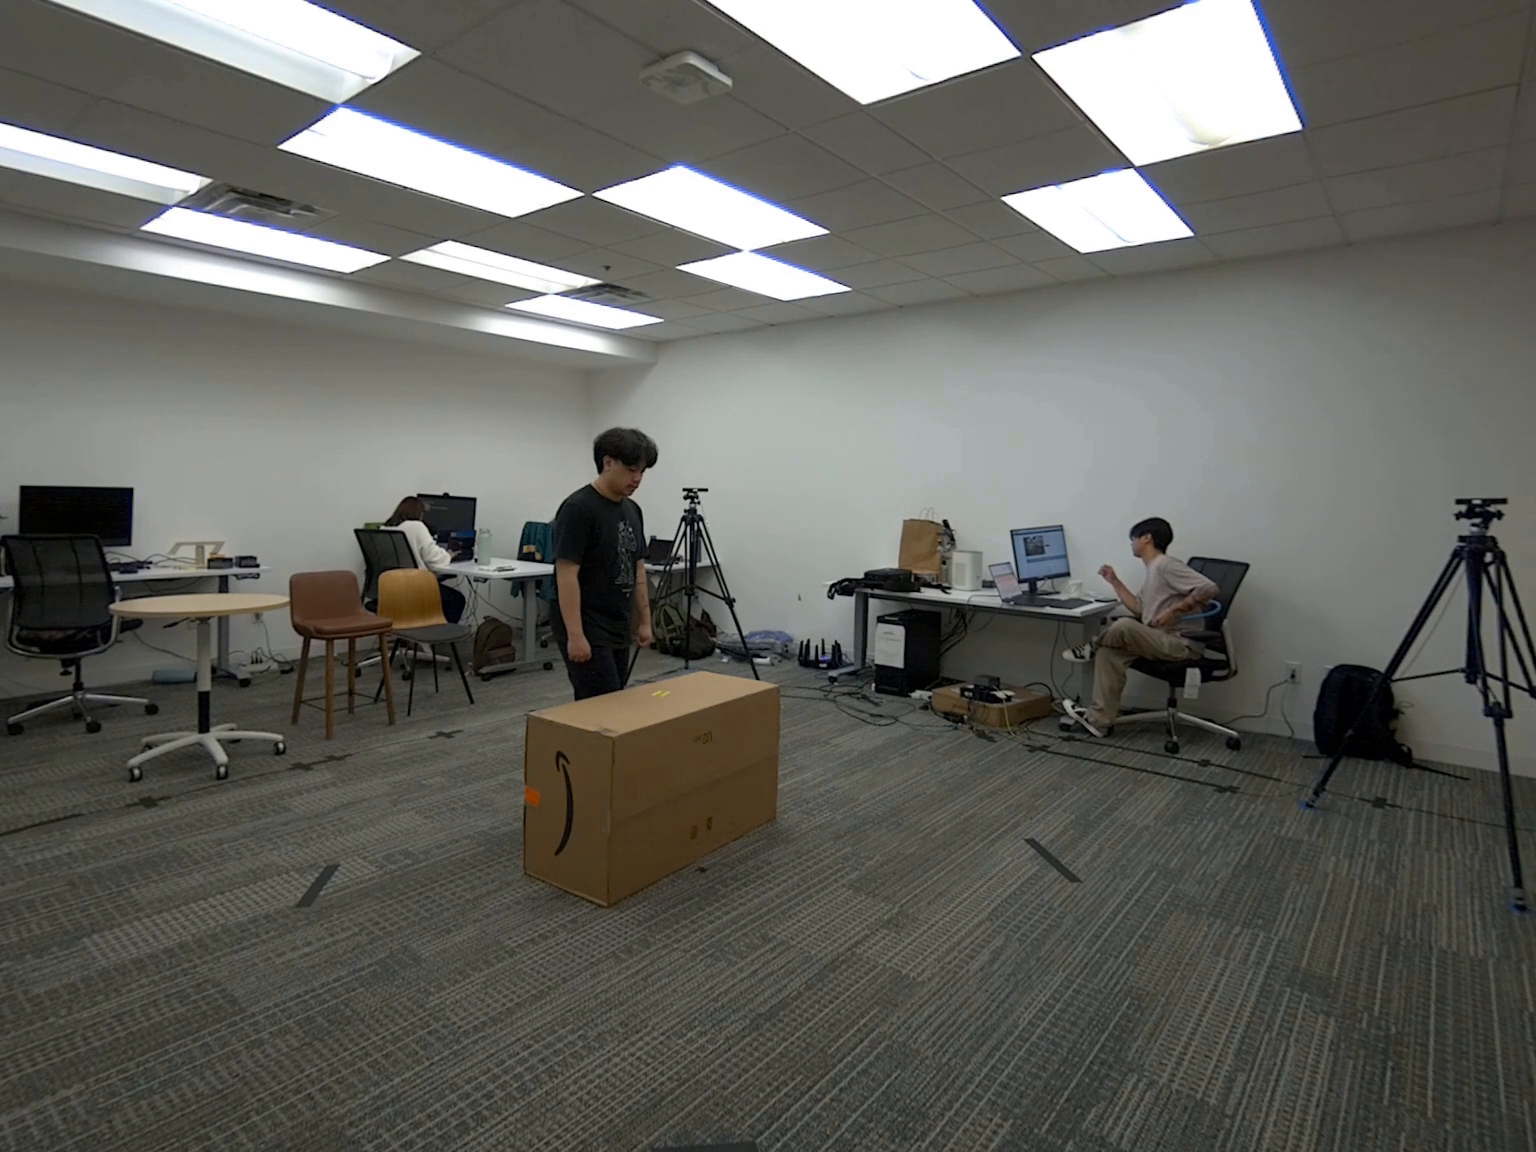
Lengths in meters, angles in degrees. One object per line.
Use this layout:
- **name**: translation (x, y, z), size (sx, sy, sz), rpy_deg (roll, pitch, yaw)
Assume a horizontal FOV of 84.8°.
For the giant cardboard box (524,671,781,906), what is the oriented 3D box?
- **giant cardboard box**: translation (-0.419, 0.761, 3.315), size (0.461, 0.583, 0.998), rpy_deg (2, 4, 34)
